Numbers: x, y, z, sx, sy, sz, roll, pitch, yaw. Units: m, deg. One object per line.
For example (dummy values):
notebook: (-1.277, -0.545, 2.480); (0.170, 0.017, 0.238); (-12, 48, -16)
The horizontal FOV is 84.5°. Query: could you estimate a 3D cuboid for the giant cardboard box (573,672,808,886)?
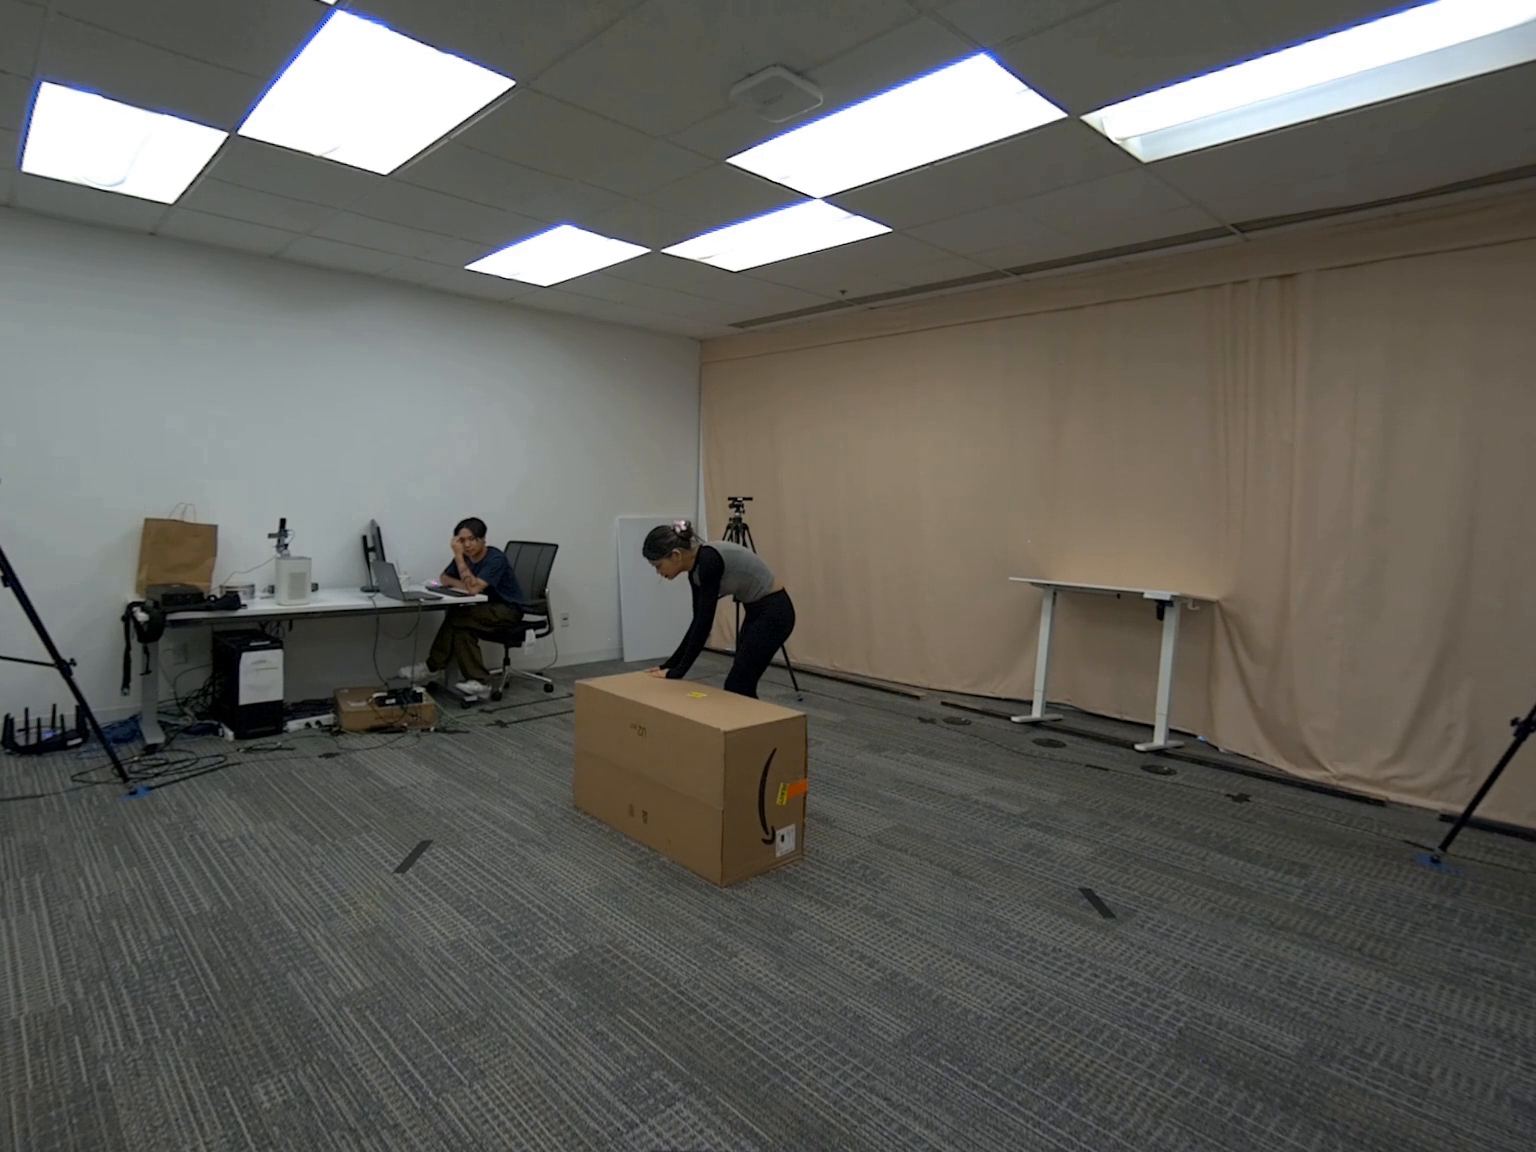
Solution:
giant cardboard box: (-0.364, 0.783, 3.502); (0.436, 0.583, 1.053); (0, 5, -44)
